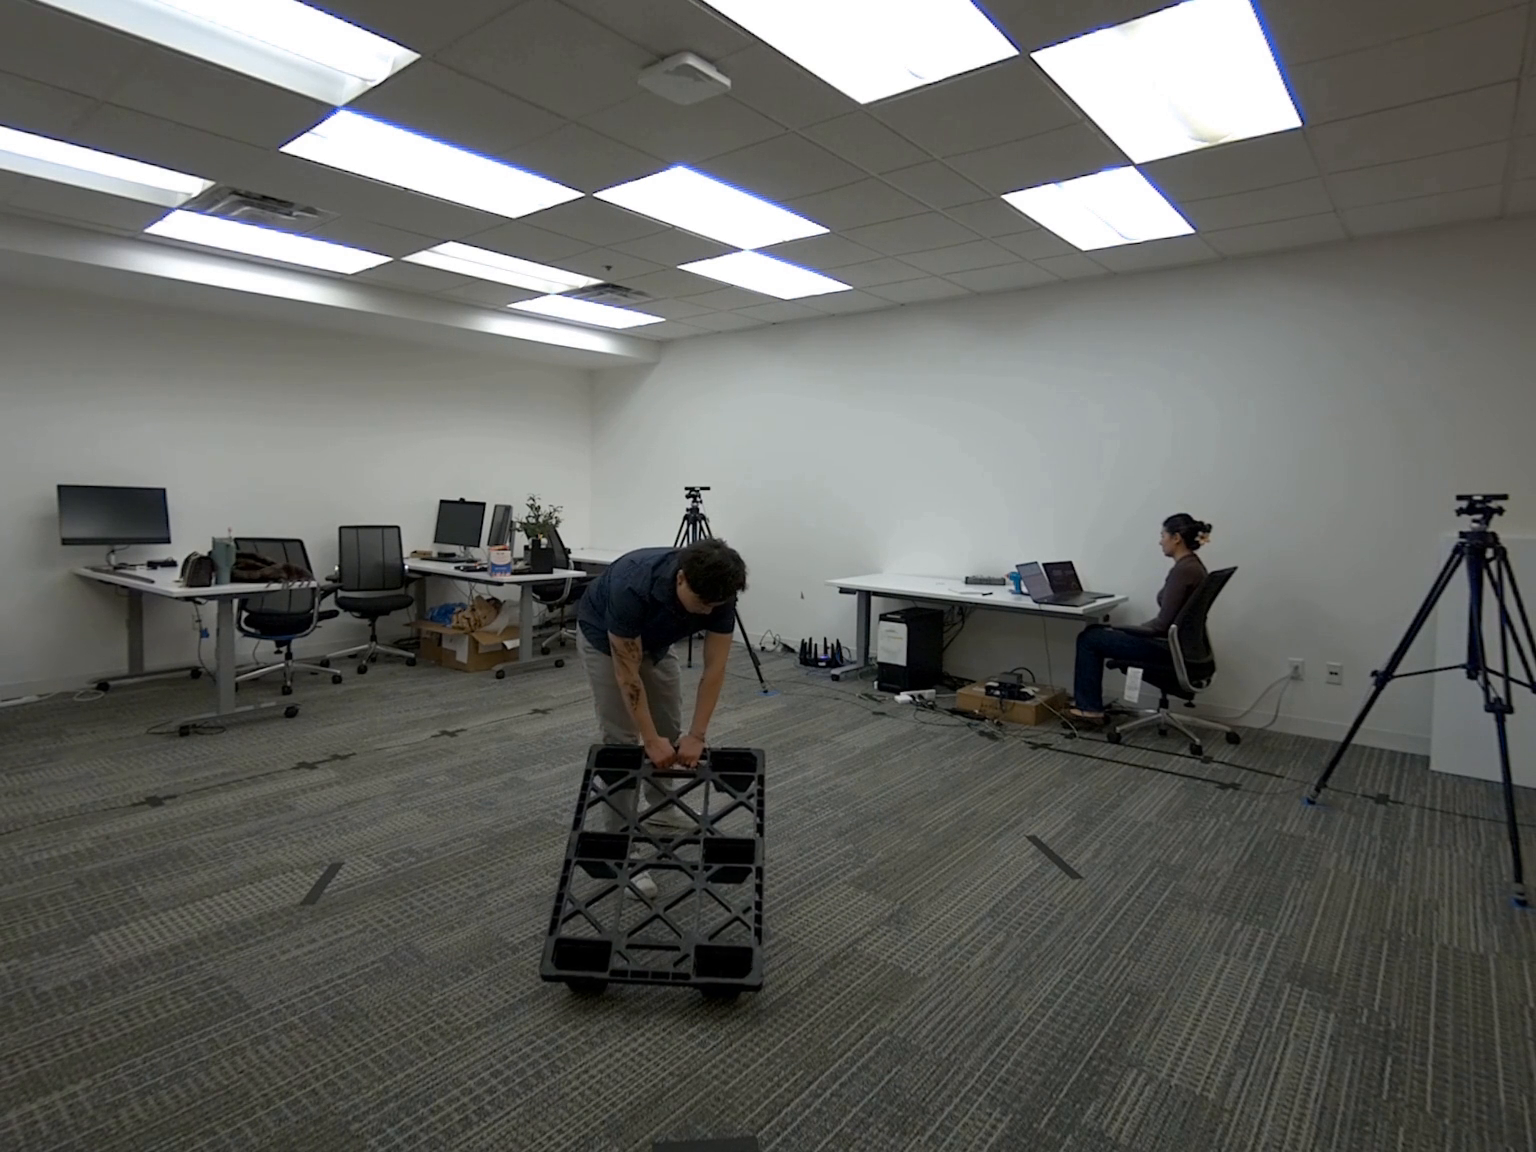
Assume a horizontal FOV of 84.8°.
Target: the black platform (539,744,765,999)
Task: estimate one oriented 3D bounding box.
[{"bbox_3d":[-0.310,0.865,2.601,0.607,0.139,0.826,1,37,2],"label":"black platform"}]
